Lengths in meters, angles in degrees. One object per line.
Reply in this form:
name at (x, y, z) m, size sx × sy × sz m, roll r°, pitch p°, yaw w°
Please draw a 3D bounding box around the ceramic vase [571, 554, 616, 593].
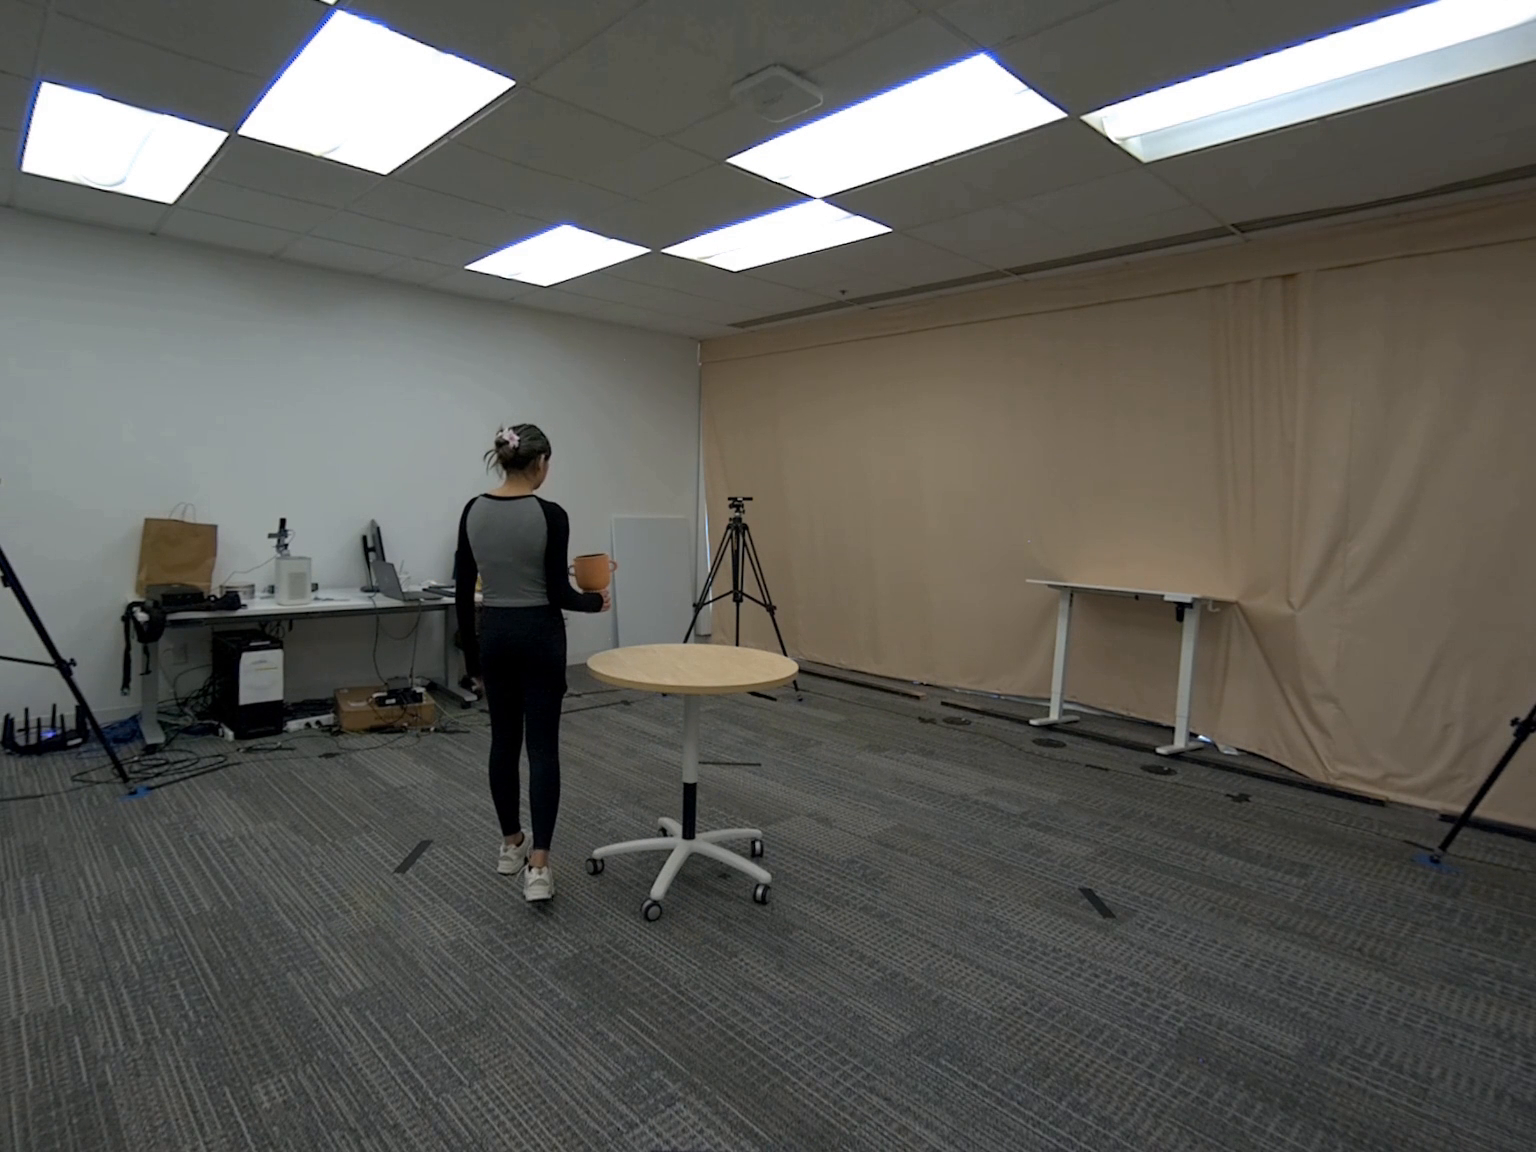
ceramic vase at (-0.695, 0.030, 3.287) m, size 0.161 × 0.219 × 0.133 m, roll -4°, pitch 5°, yaw 18°
